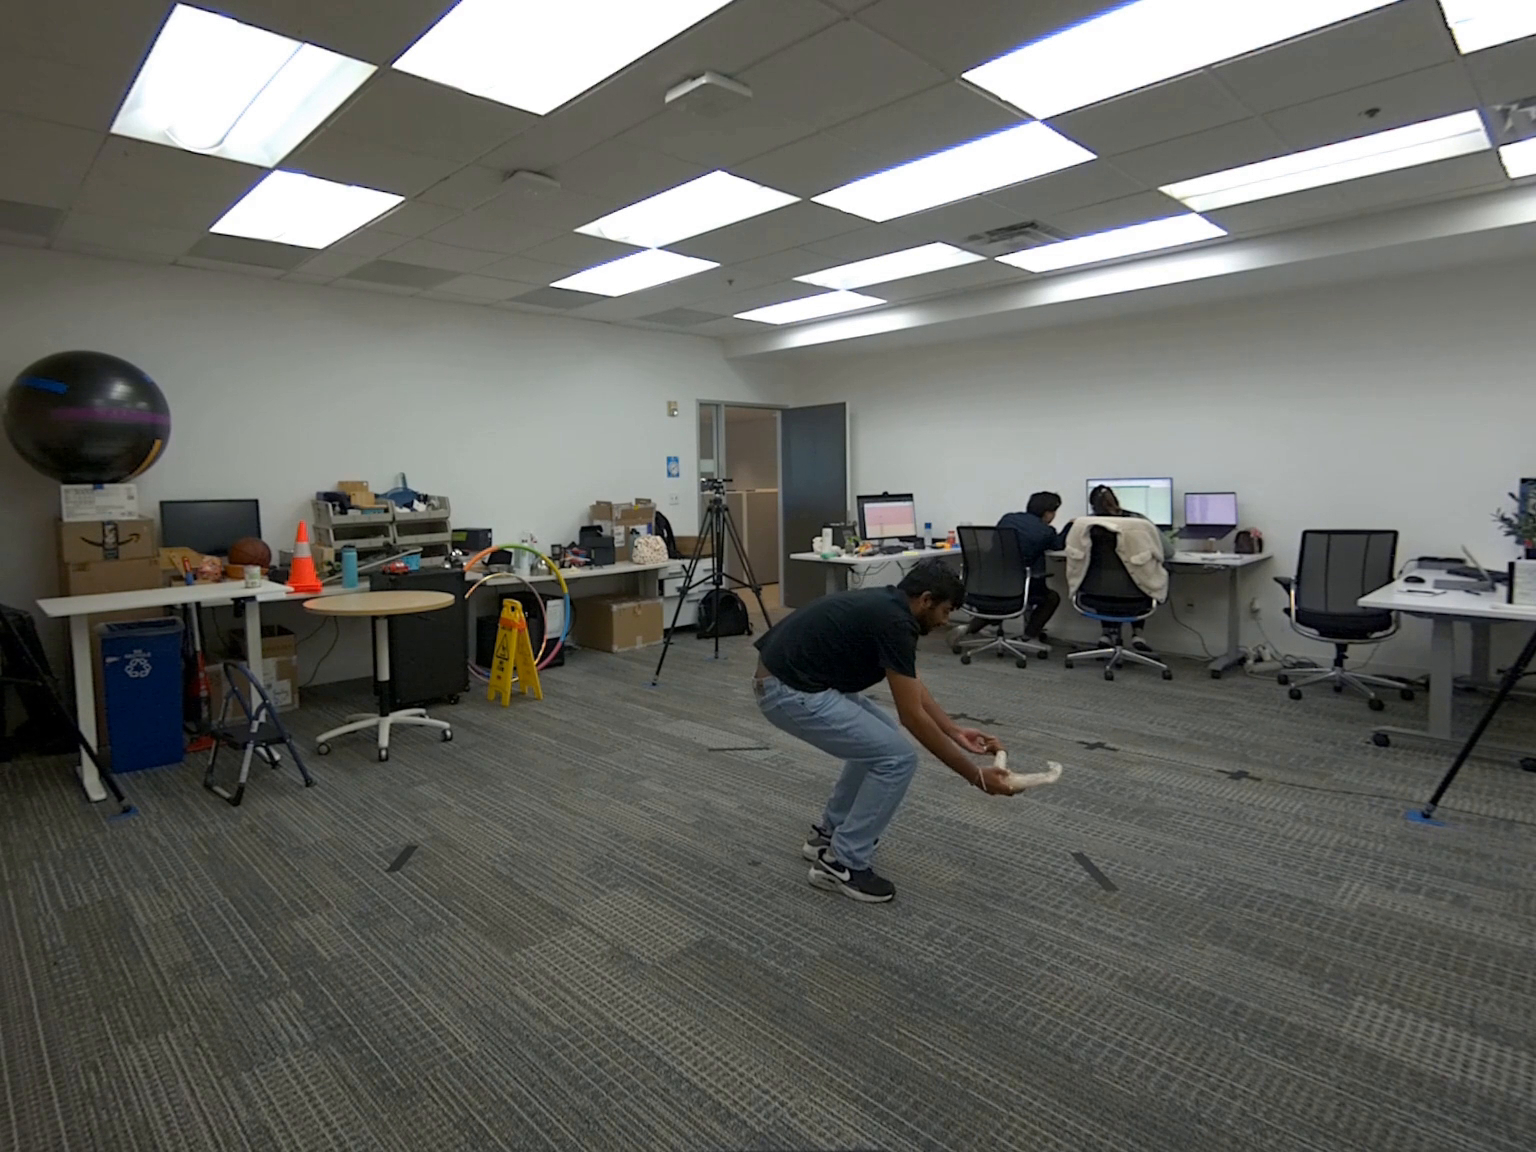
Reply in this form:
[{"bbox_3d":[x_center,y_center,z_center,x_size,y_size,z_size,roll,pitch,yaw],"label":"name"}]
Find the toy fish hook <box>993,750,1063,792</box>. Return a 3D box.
[{"bbox_3d":[0.865,0.644,2.978,0.226,0.048,0.506,-4,6,4],"label":"toy fish hook"}]
